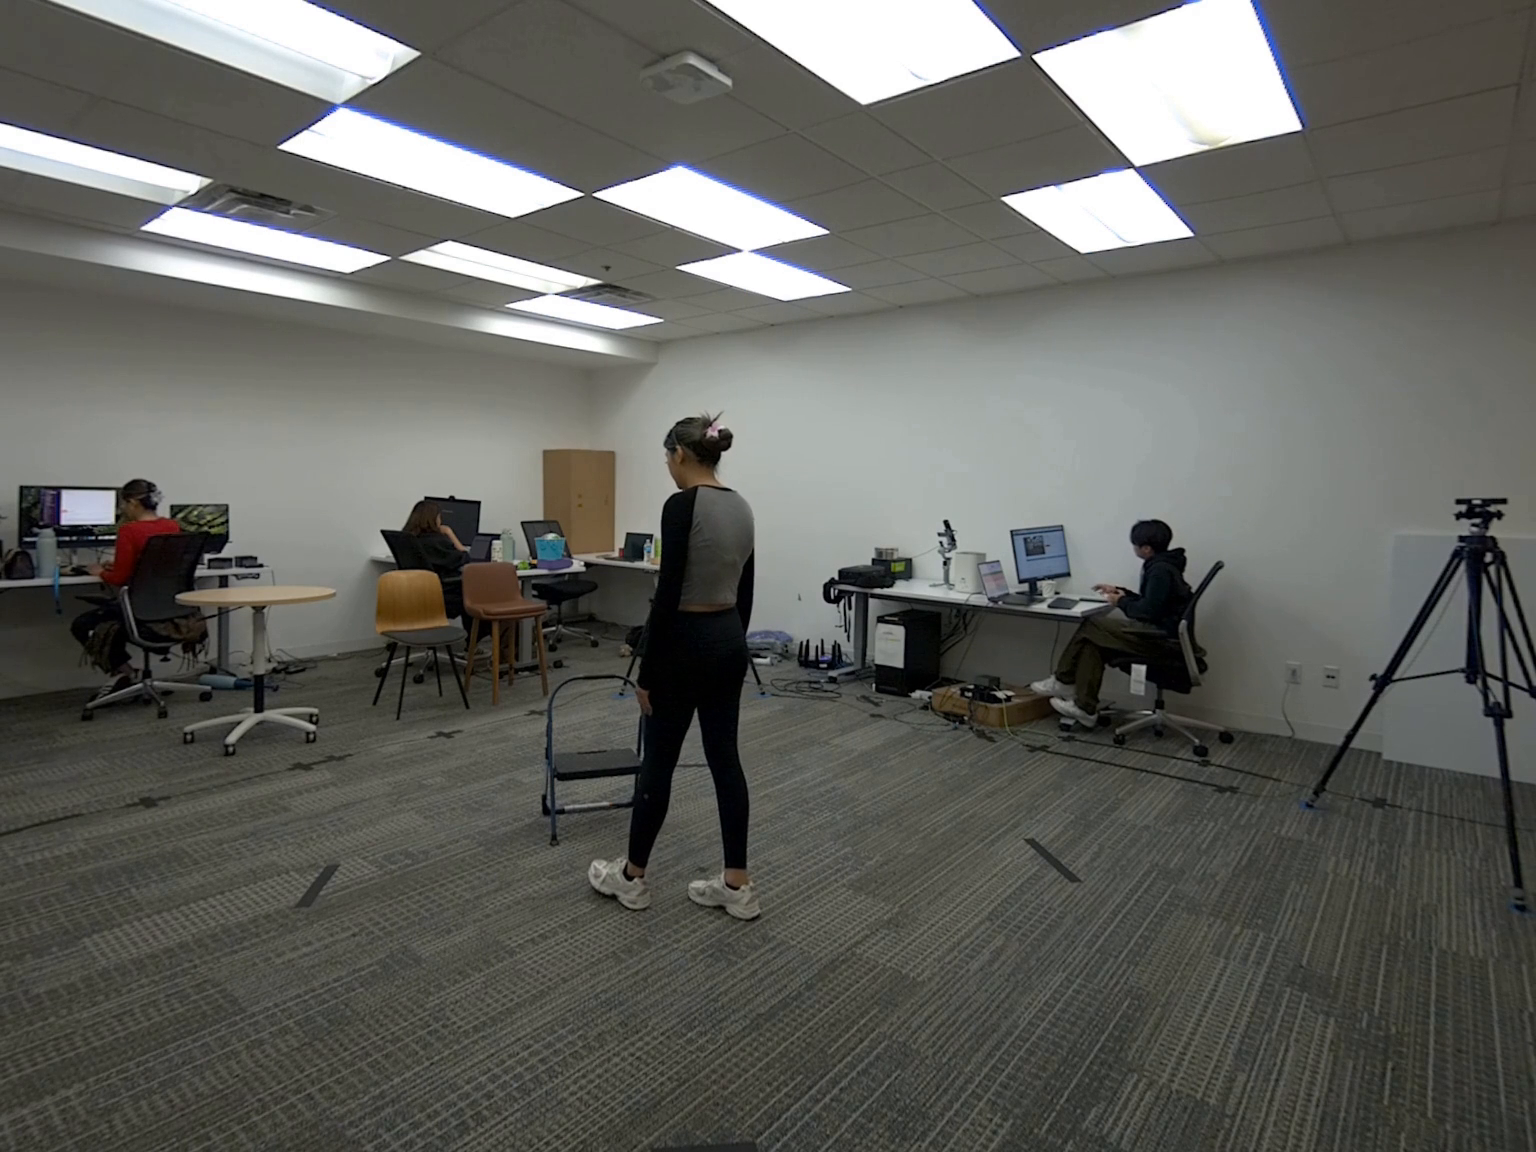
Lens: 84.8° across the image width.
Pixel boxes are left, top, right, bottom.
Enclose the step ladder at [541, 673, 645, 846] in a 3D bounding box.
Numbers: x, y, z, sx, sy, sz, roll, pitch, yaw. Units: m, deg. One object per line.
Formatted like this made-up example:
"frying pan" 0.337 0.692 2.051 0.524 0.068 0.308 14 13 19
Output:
"step ladder" -0.716 0.721 3.510 0.422 0.604 0.357 0 3 -21
